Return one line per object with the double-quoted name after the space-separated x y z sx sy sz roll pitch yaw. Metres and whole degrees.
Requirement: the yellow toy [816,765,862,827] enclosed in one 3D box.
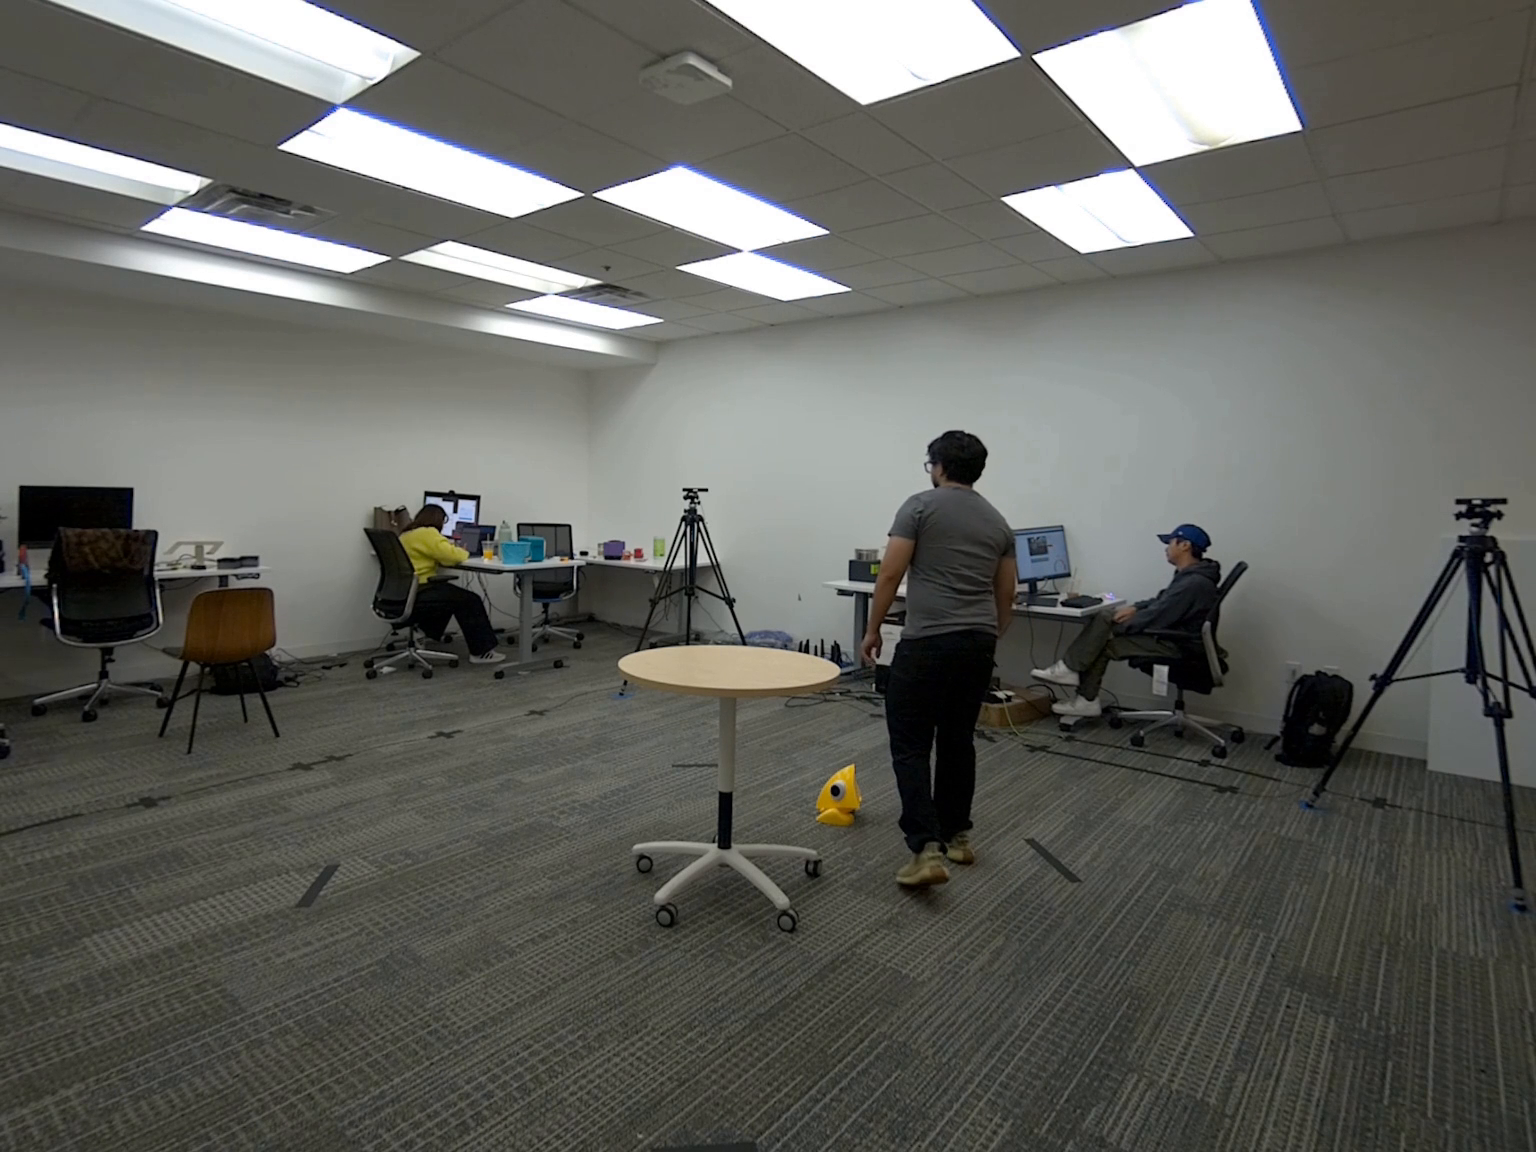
0.295 0.914 3.649 0.195 0.230 0.203 4 4 8 "yellow toy"
